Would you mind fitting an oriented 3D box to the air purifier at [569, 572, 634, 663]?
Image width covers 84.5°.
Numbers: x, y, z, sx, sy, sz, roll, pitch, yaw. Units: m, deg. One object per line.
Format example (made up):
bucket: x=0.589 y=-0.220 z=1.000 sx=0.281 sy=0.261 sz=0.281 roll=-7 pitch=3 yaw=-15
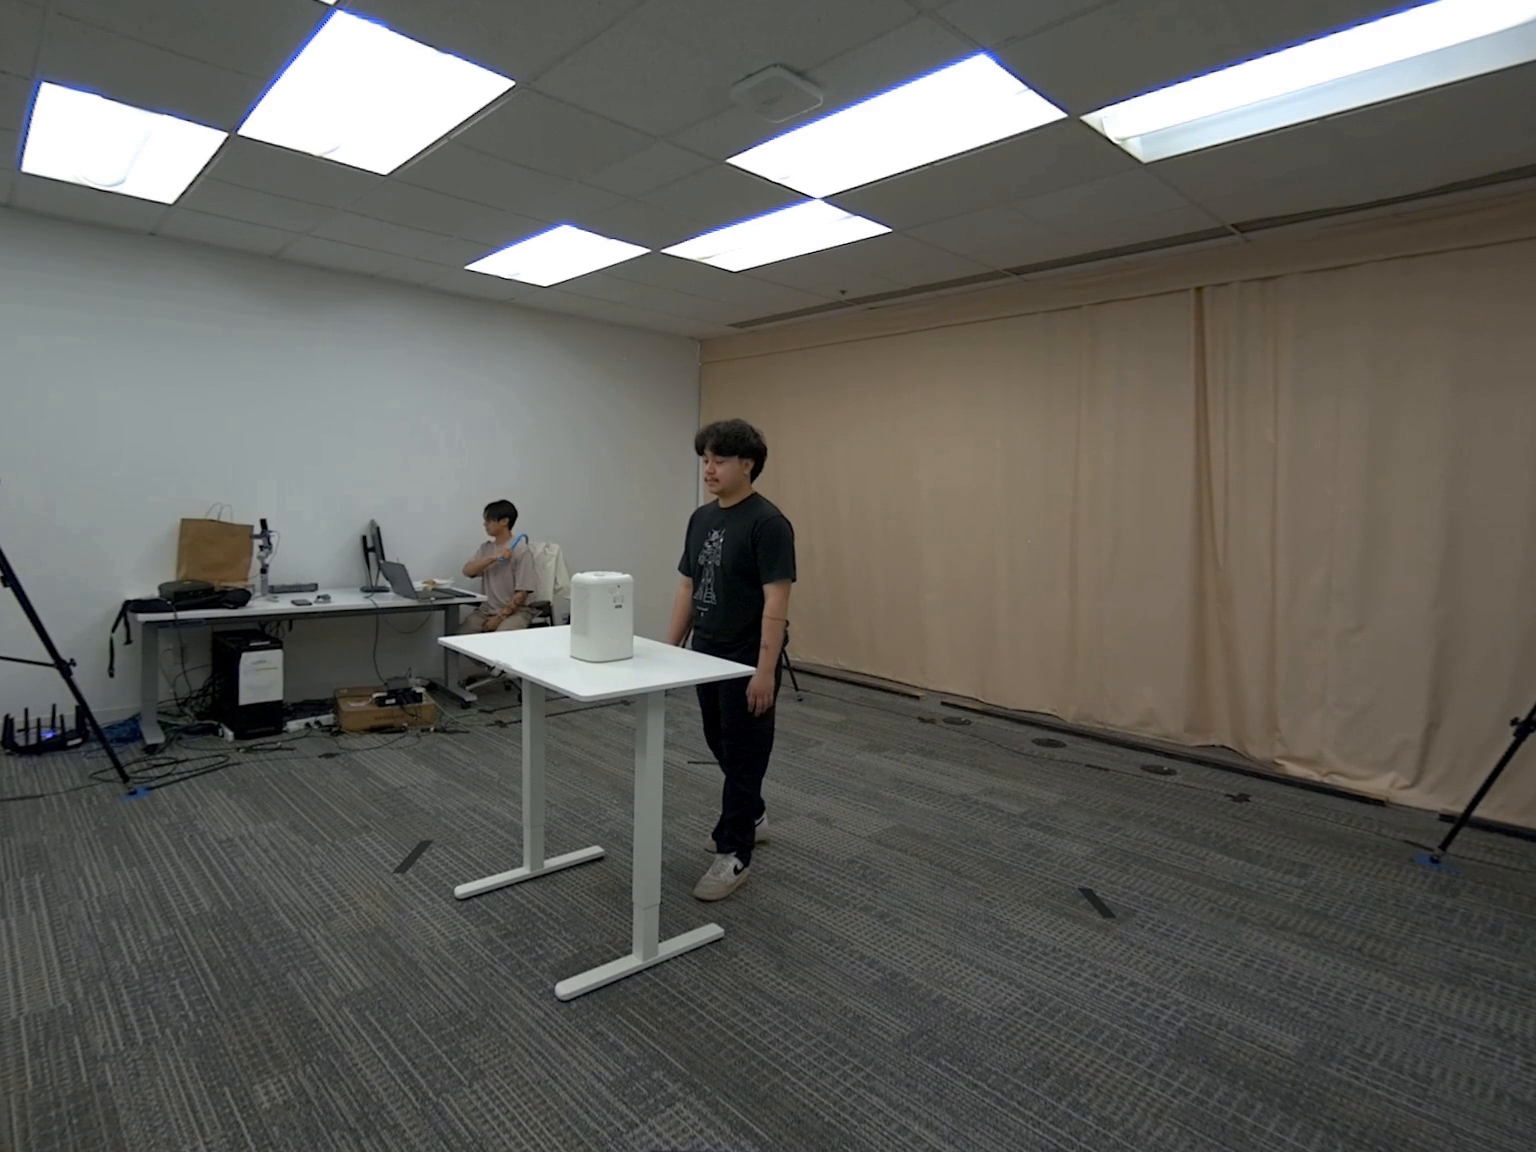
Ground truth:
air purifier: x=-0.534 y=0.125 z=2.653 sx=0.176 sy=0.264 sz=0.167 roll=5 pitch=6 yaw=44
